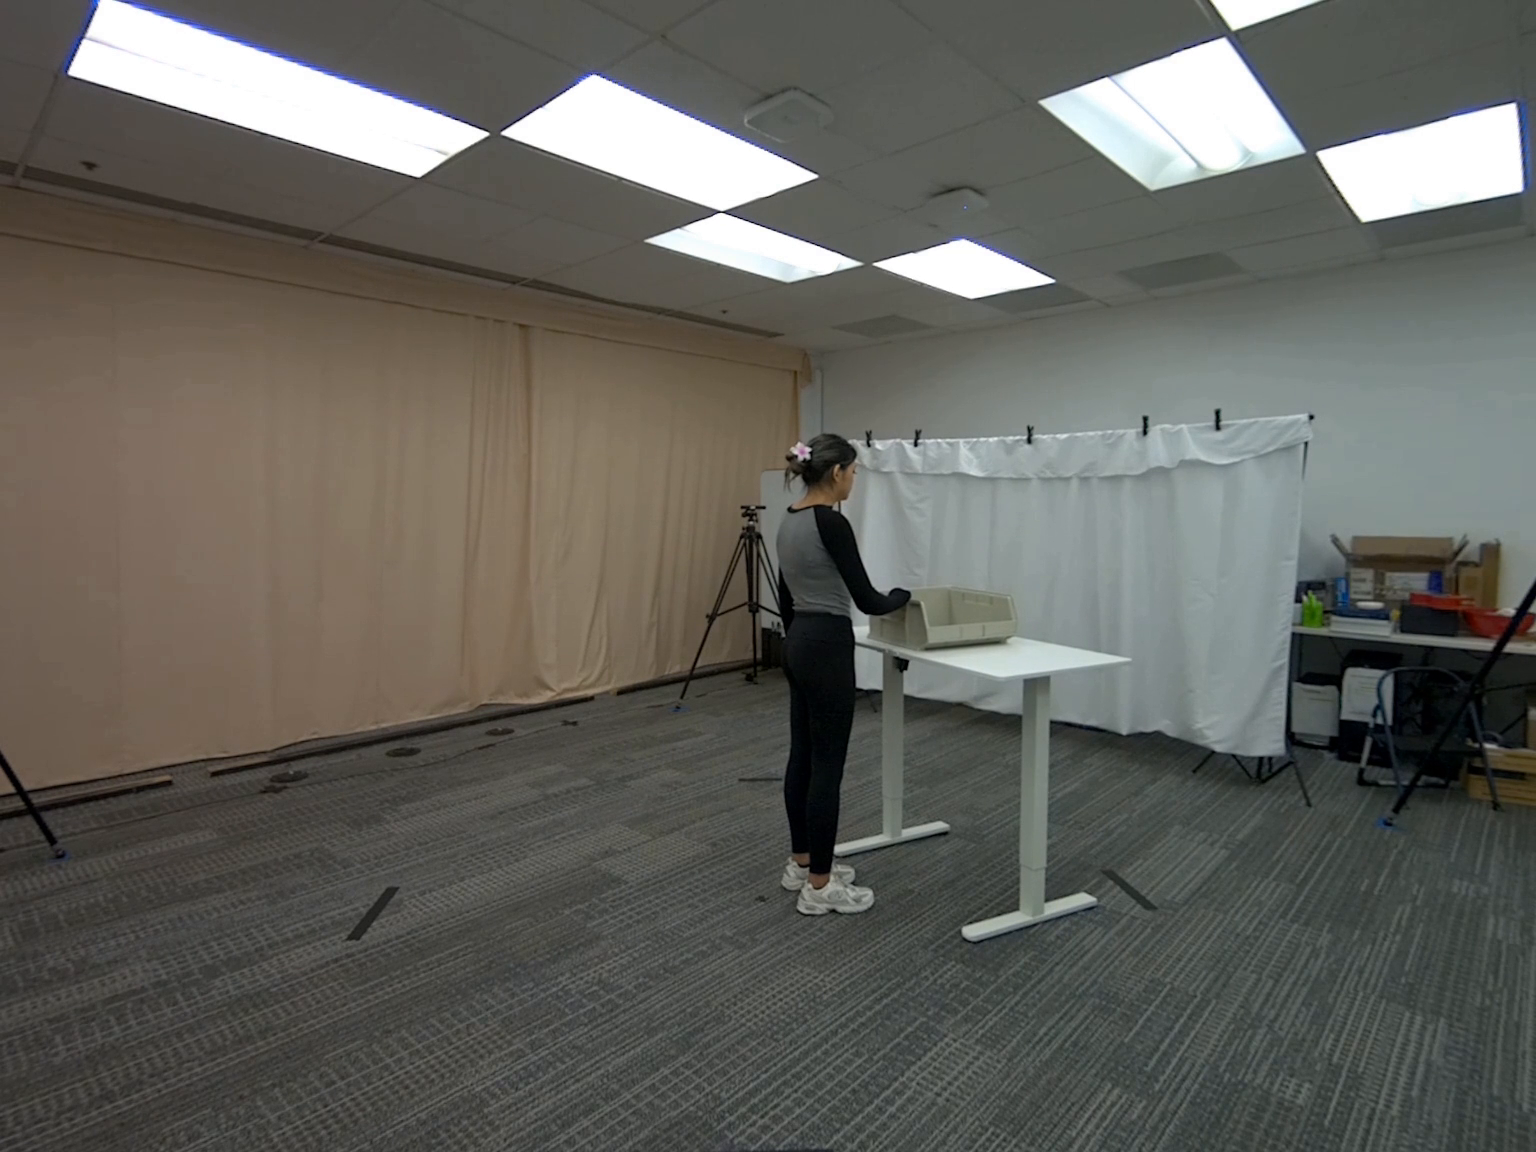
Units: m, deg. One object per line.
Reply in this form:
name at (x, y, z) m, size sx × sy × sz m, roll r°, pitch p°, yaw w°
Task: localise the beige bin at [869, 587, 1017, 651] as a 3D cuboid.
beige bin at (0.651, 0.164, 3.143) m, size 0.412 × 0.188 × 0.388 m, roll -4°, pitch 5°, yaw -27°
